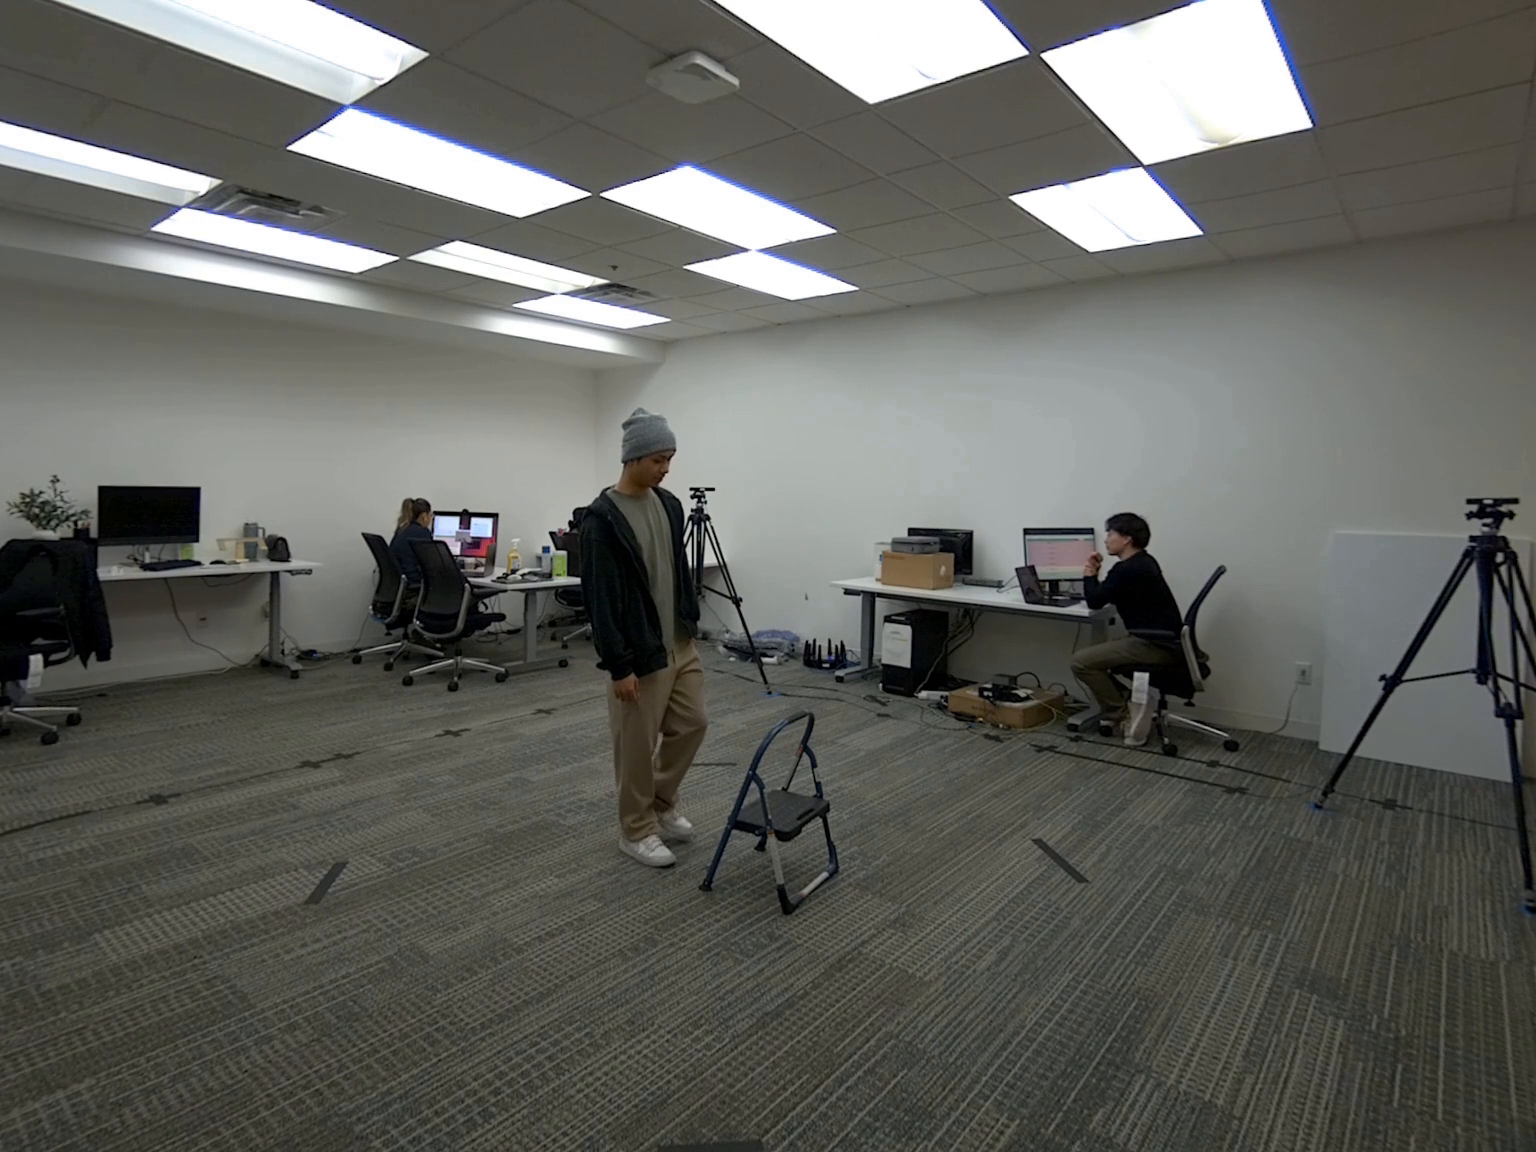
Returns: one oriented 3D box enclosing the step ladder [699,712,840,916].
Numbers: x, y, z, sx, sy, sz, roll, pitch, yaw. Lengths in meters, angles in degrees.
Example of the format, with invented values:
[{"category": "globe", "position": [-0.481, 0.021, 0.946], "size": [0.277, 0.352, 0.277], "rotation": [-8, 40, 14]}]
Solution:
[{"category": "step ladder", "position": [0.013, 0.777, 3.016], "size": [0.359, 0.604, 0.420], "rotation": [3, 4, 29]}]
